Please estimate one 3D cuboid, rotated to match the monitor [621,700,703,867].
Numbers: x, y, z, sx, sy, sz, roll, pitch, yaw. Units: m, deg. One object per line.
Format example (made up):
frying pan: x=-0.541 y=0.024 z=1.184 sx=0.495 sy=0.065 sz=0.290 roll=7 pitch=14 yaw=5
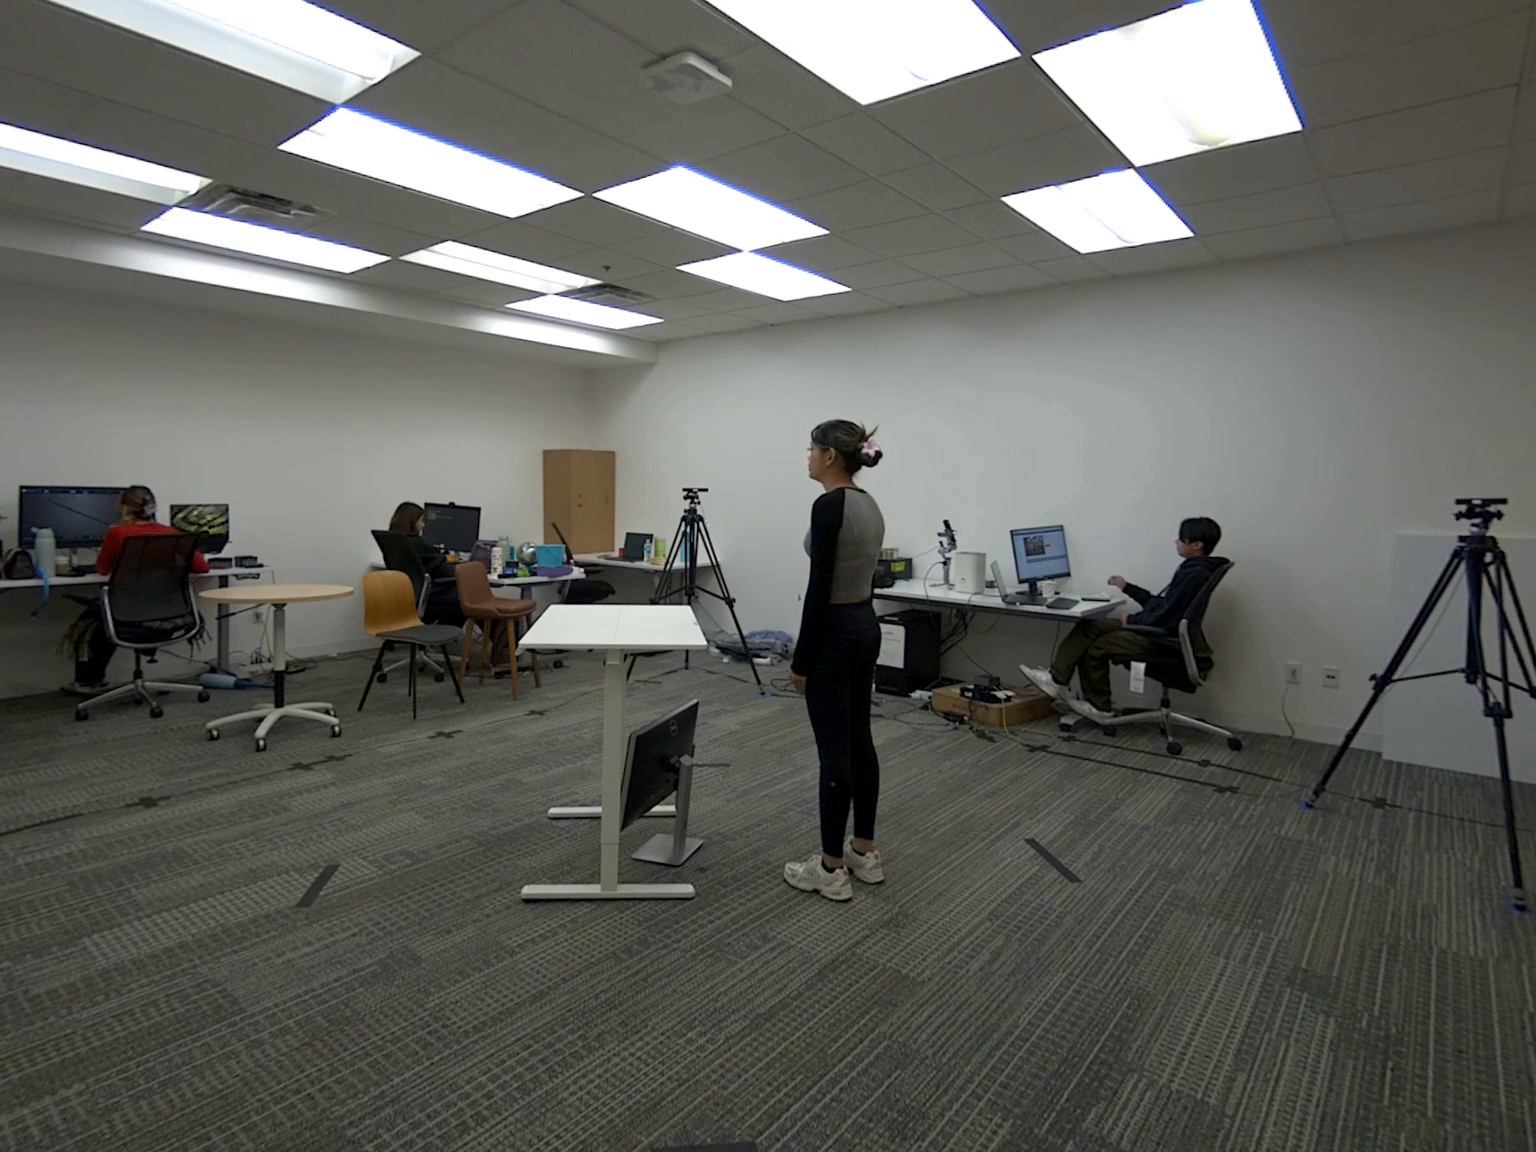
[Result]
monitor: x=-0.390 y=0.795 z=3.249 sx=0.191 sy=0.521 sz=0.530 roll=0 pitch=3 yaw=18
